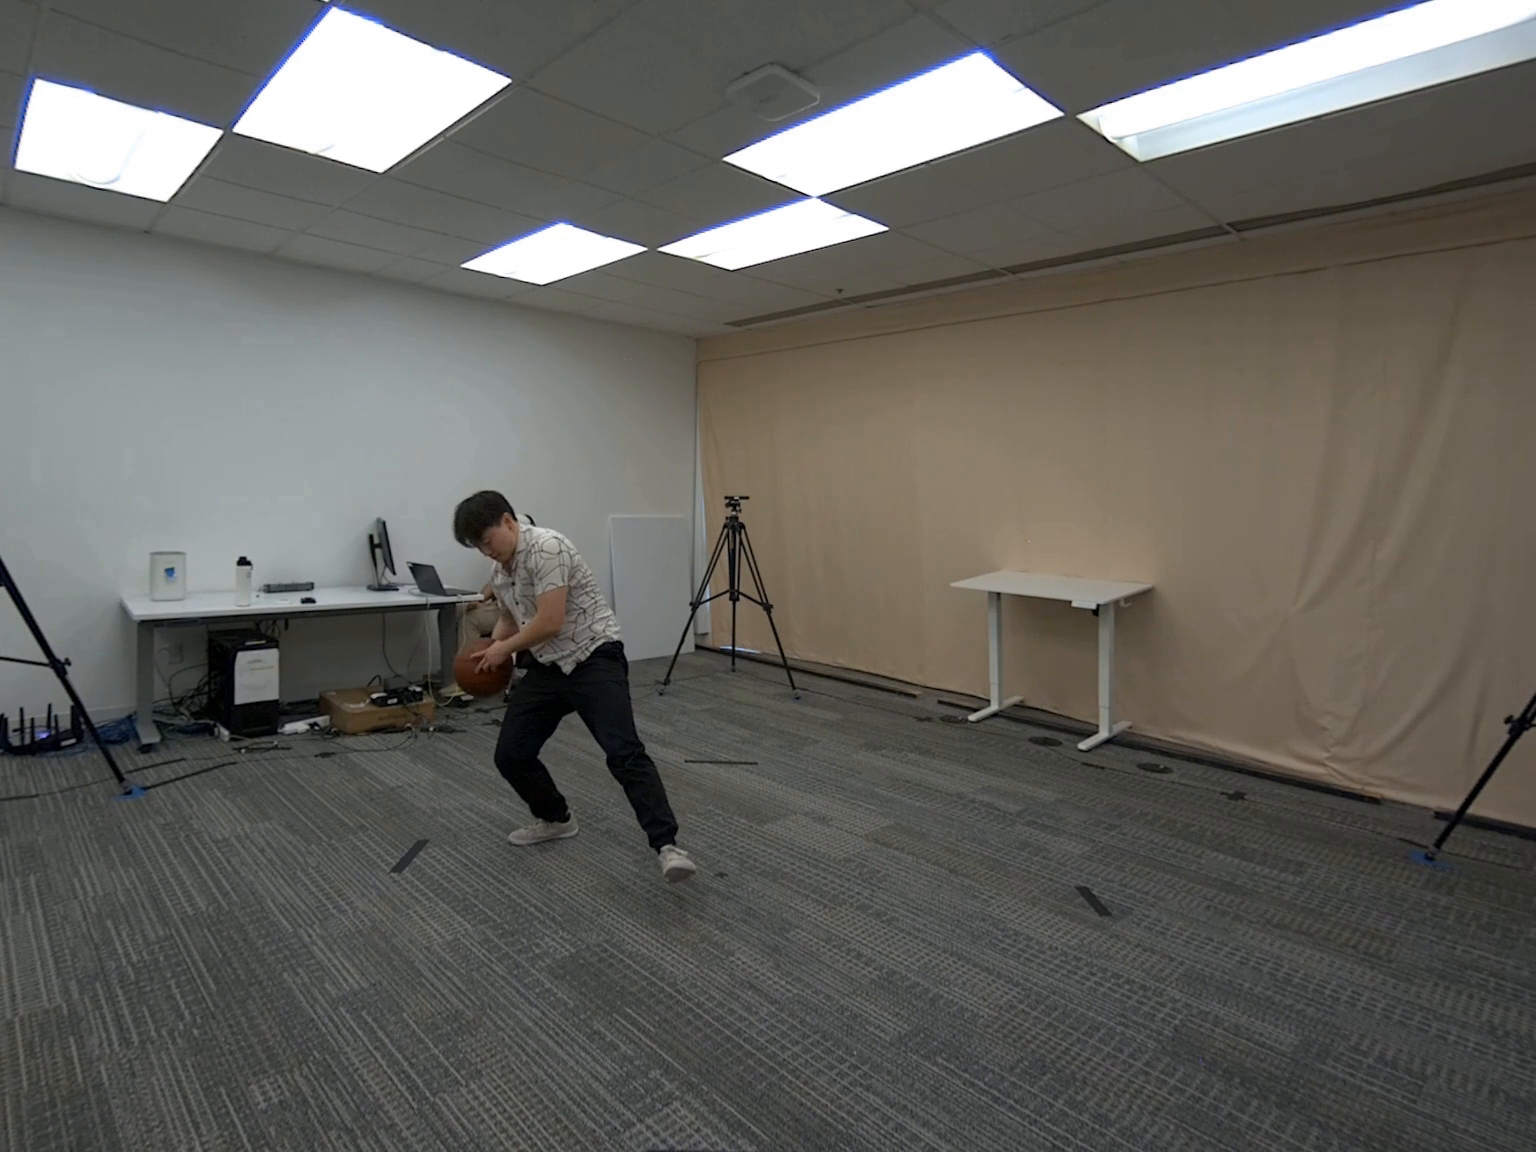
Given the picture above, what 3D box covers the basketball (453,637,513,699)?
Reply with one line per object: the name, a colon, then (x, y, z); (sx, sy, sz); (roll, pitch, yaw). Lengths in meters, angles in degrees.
basketball: (-1.137, 0.366, 3.374); (0.236, 0.235, 0.237); (1, 4, -1)
